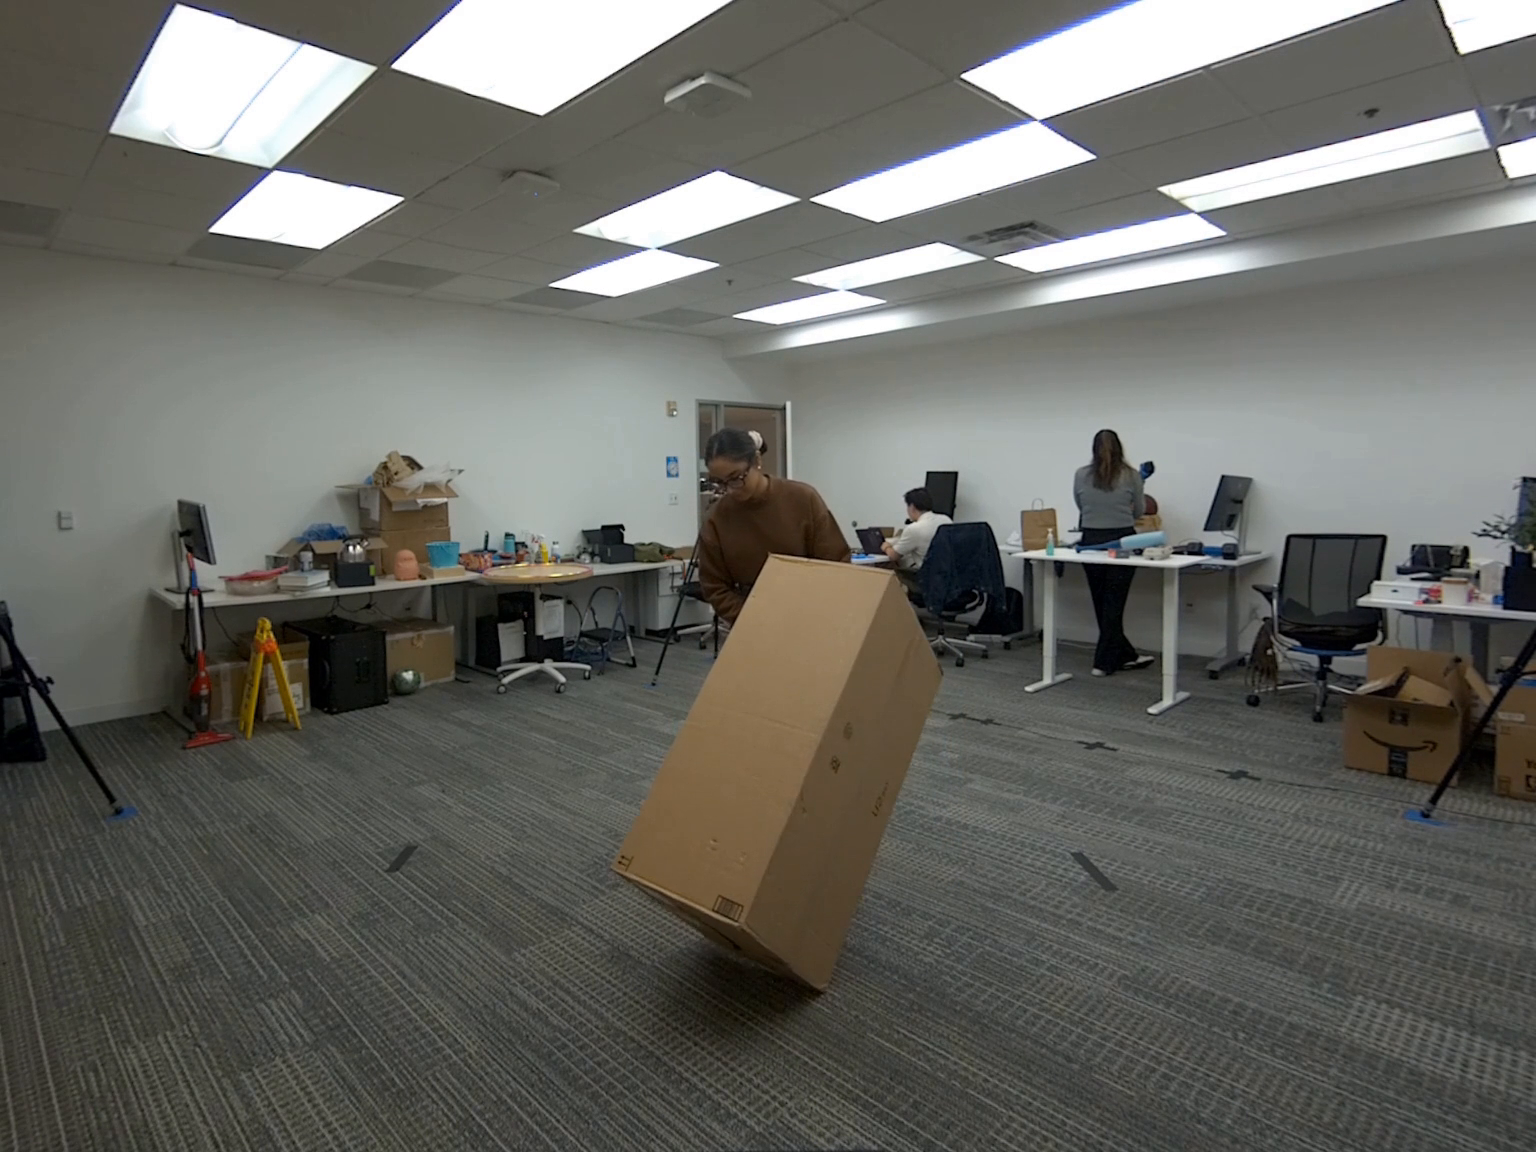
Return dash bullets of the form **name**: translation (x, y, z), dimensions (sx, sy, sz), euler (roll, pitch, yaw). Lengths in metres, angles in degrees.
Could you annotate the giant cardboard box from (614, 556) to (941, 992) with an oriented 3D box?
- **giant cardboard box**: translation (0.077, 0.541, 2.487), dimensions (0.439, 1.034, 0.555), euler (6, -33, 36)
